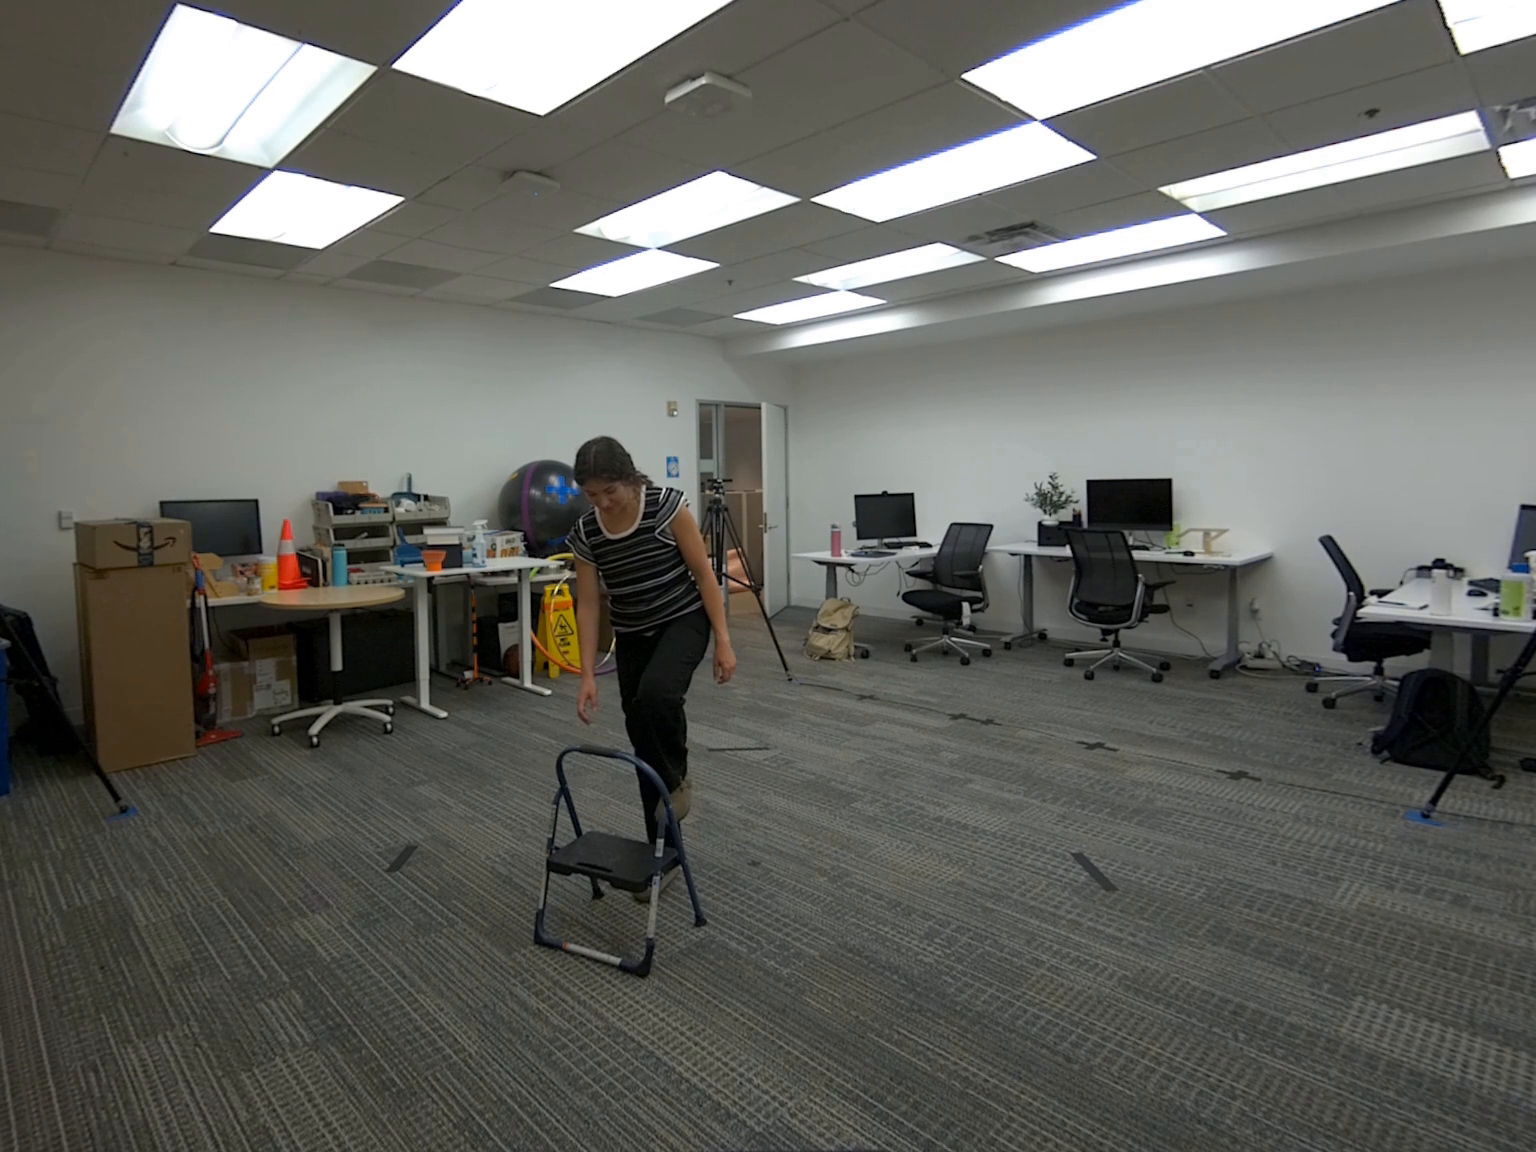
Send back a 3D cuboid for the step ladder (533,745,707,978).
[{"bbox_3d":[-0.463,0.806,2.628,0.441,0.603,0.343,1,6,26],"label":"step ladder"}]
